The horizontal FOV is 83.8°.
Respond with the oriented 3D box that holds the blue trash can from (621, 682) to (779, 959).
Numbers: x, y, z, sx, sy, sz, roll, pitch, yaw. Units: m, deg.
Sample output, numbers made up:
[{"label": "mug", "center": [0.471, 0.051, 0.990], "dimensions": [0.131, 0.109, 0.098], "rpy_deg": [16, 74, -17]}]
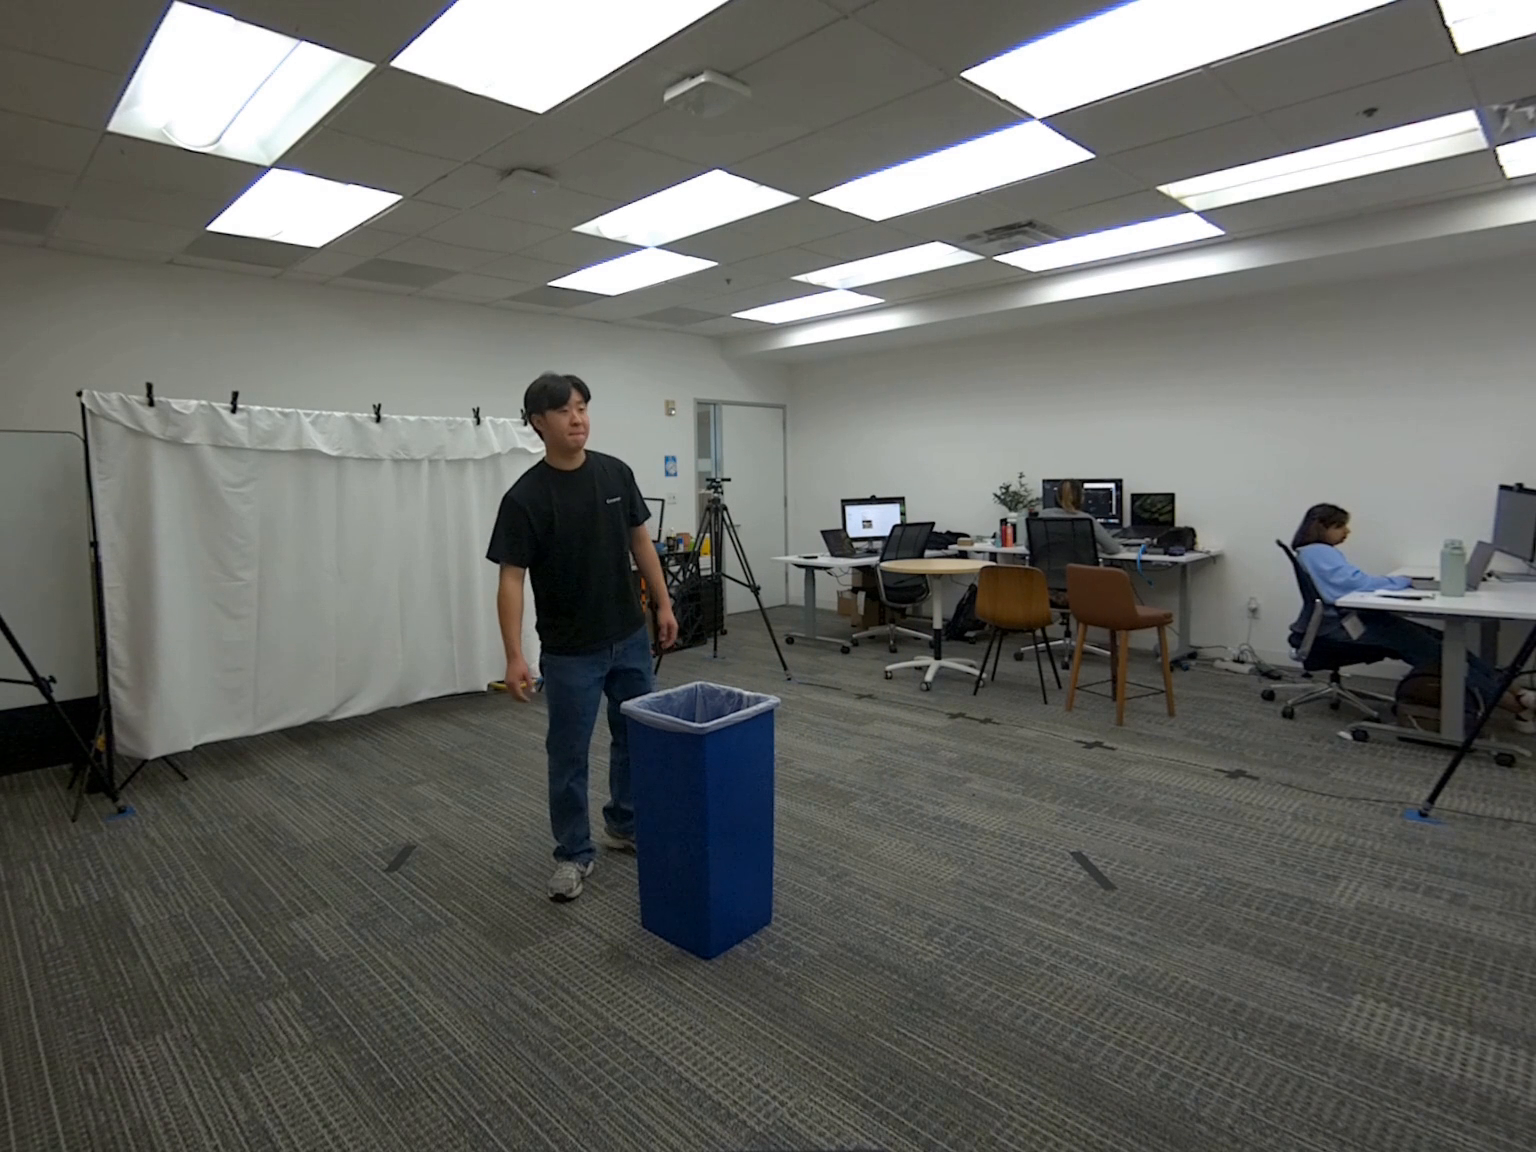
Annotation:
[{"label": "blue trash can", "center": [-0.194, 0.739, 2.651], "dimensions": [0.389, 0.711, 0.364], "rpy_deg": [2, 5, 41]}]
